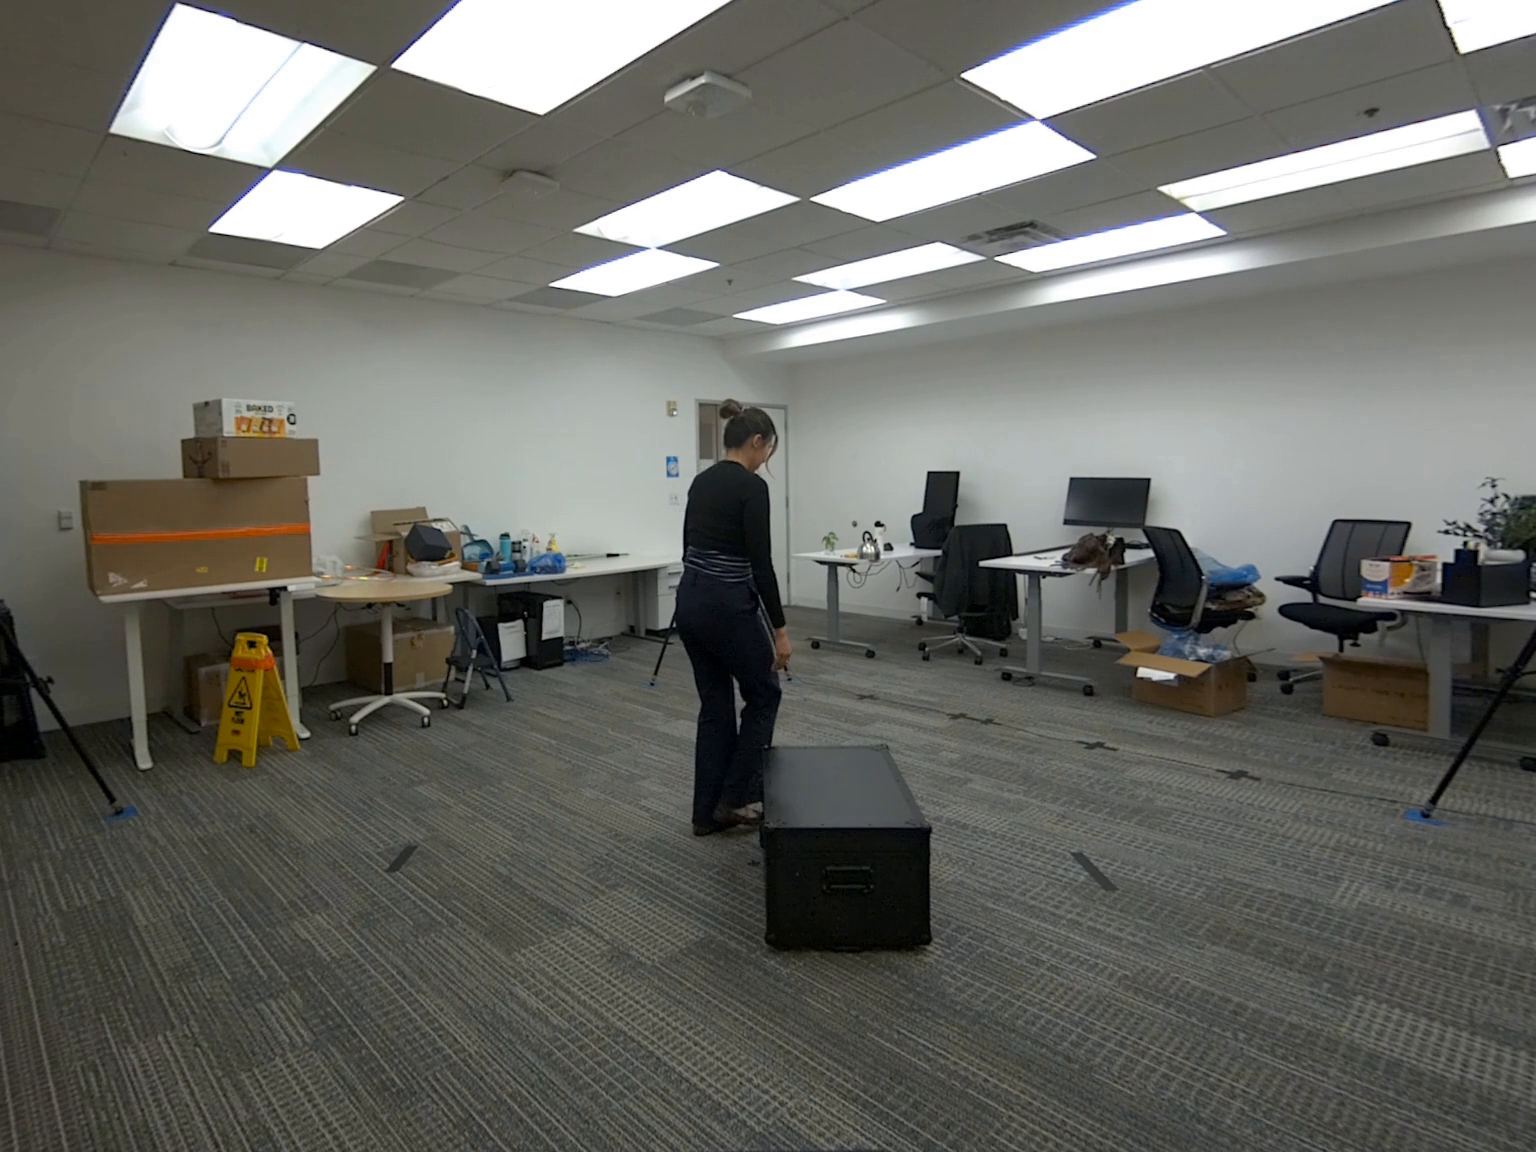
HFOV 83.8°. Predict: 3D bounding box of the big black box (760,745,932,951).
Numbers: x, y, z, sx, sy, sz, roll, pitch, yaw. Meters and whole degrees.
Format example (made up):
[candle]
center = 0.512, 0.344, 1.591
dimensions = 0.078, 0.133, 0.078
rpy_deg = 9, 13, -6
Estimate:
[big black box]
center = 0.233, 0.867, 2.909
dimensions = 0.521, 0.394, 0.865
rpy_deg = -1, 6, -1
